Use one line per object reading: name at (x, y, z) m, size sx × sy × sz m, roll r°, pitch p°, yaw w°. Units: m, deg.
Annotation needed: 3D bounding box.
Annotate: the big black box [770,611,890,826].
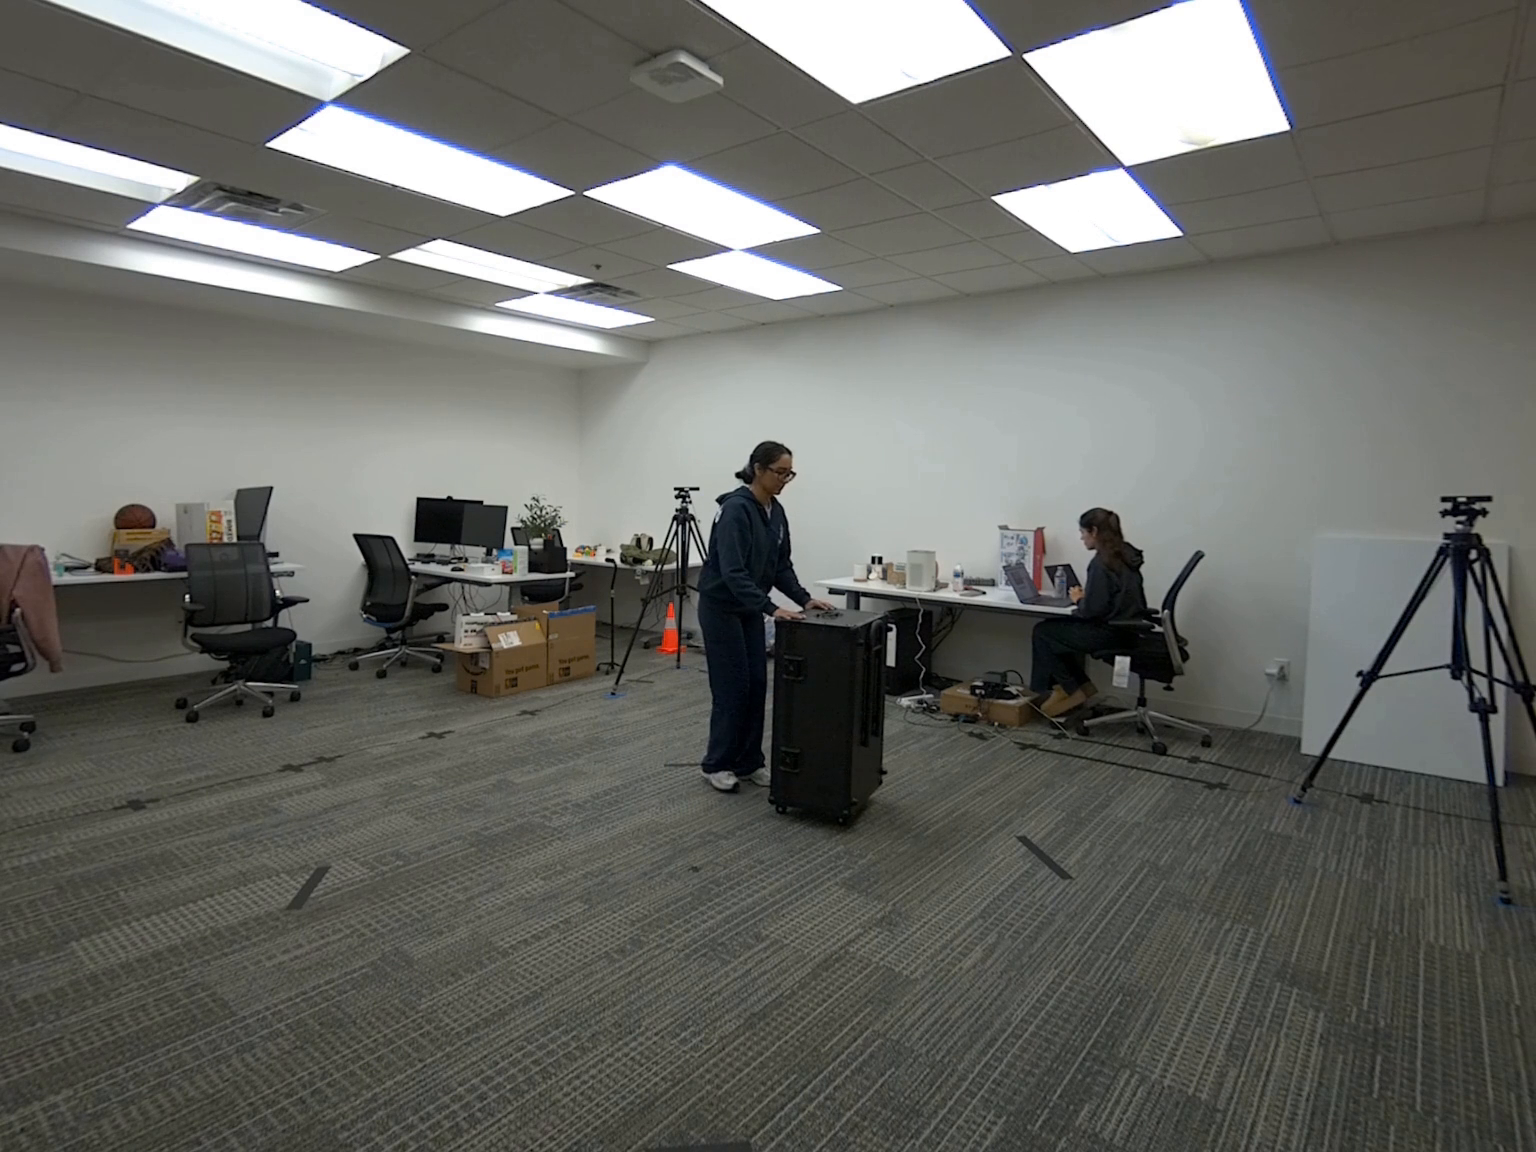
big black box at (0.274, 0.590, 3.695) m, size 0.407 × 0.858 × 0.509 m, roll 5°, pitch 5°, yaw 26°
